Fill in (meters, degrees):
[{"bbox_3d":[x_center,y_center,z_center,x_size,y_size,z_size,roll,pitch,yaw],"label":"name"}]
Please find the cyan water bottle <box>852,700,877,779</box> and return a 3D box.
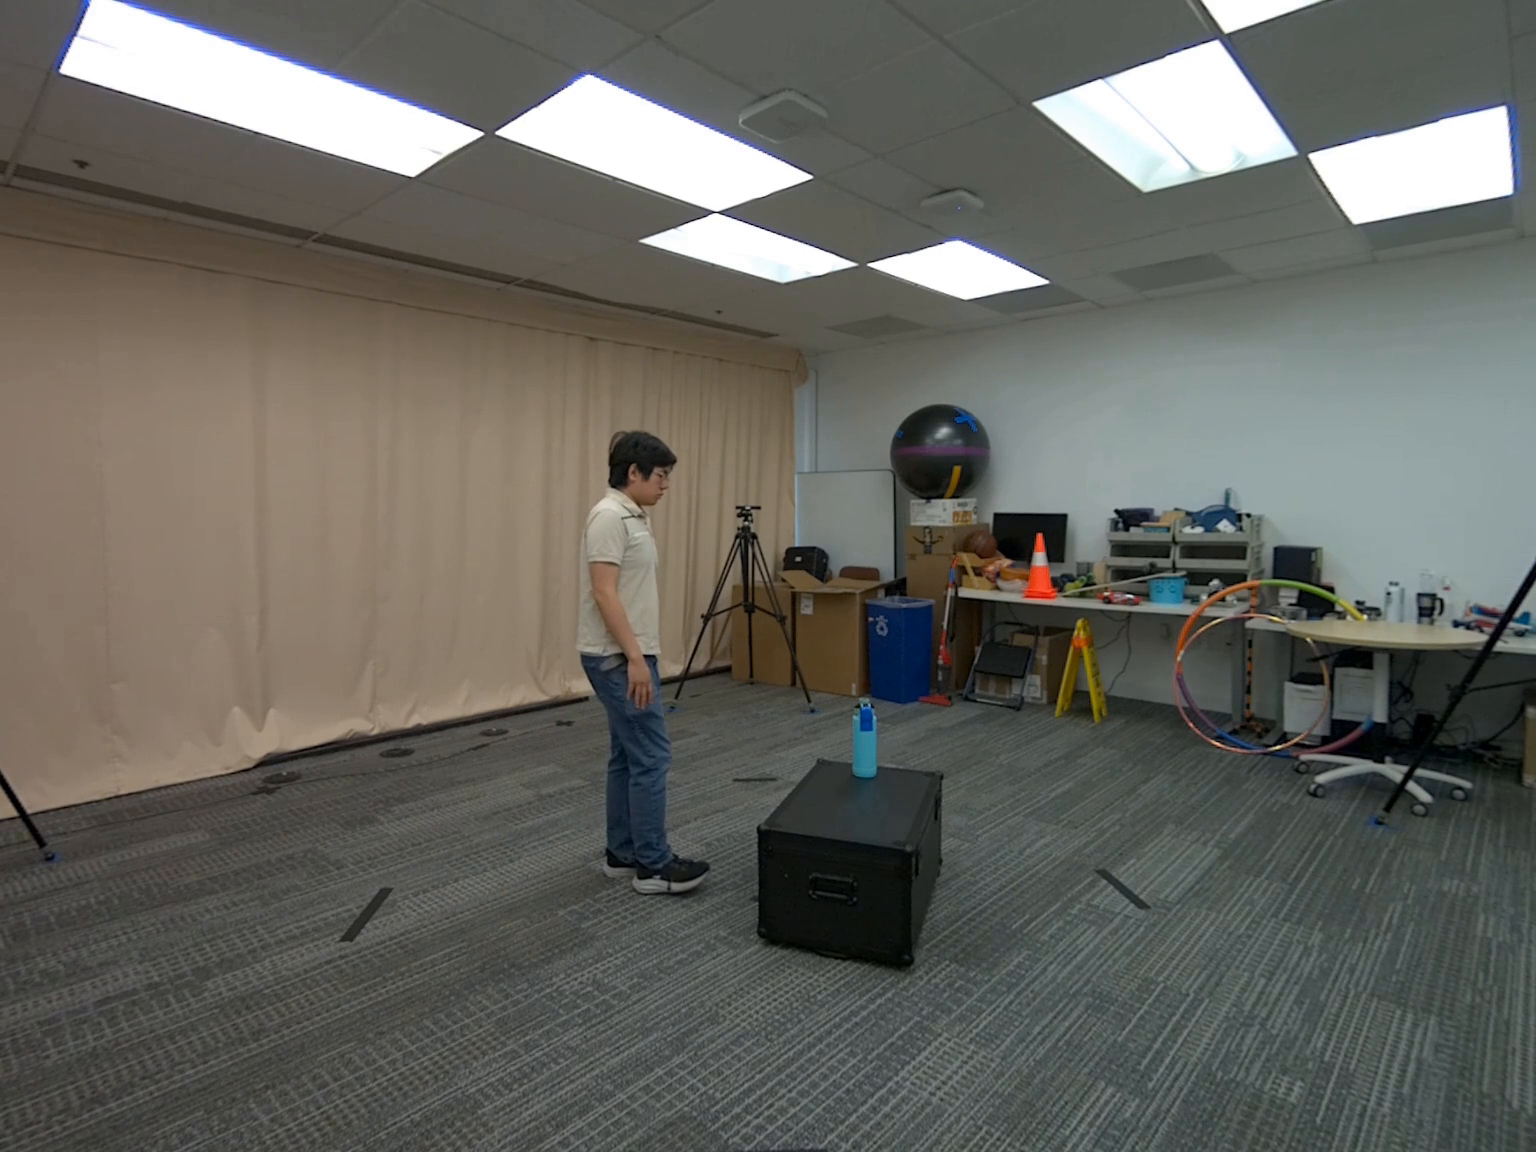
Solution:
[{"bbox_3d":[0.375,0.612,3.182,0.092,0.282,0.093,-1,4,-2],"label":"cyan water bottle"}]
